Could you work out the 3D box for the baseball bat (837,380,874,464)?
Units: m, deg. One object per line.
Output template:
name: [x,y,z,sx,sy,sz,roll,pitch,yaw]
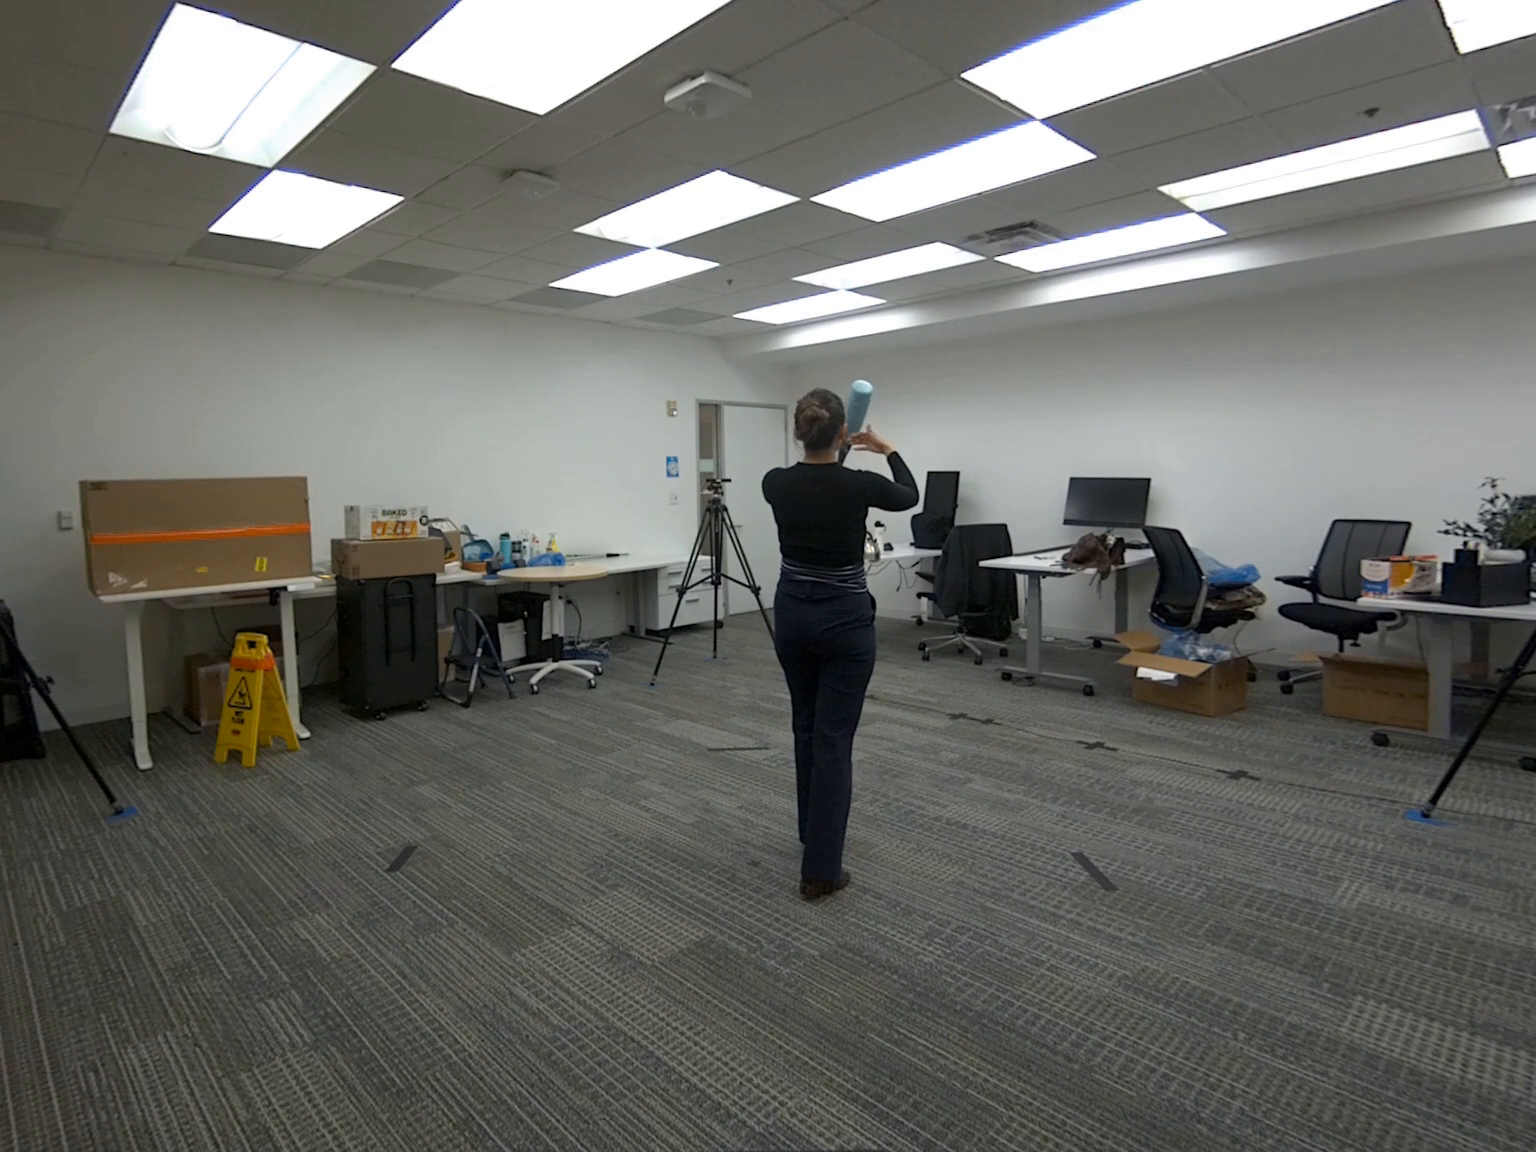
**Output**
baseball bat: [0.320,-0.538,3.395,0.088,0.531,0.091,5,47,-7]
